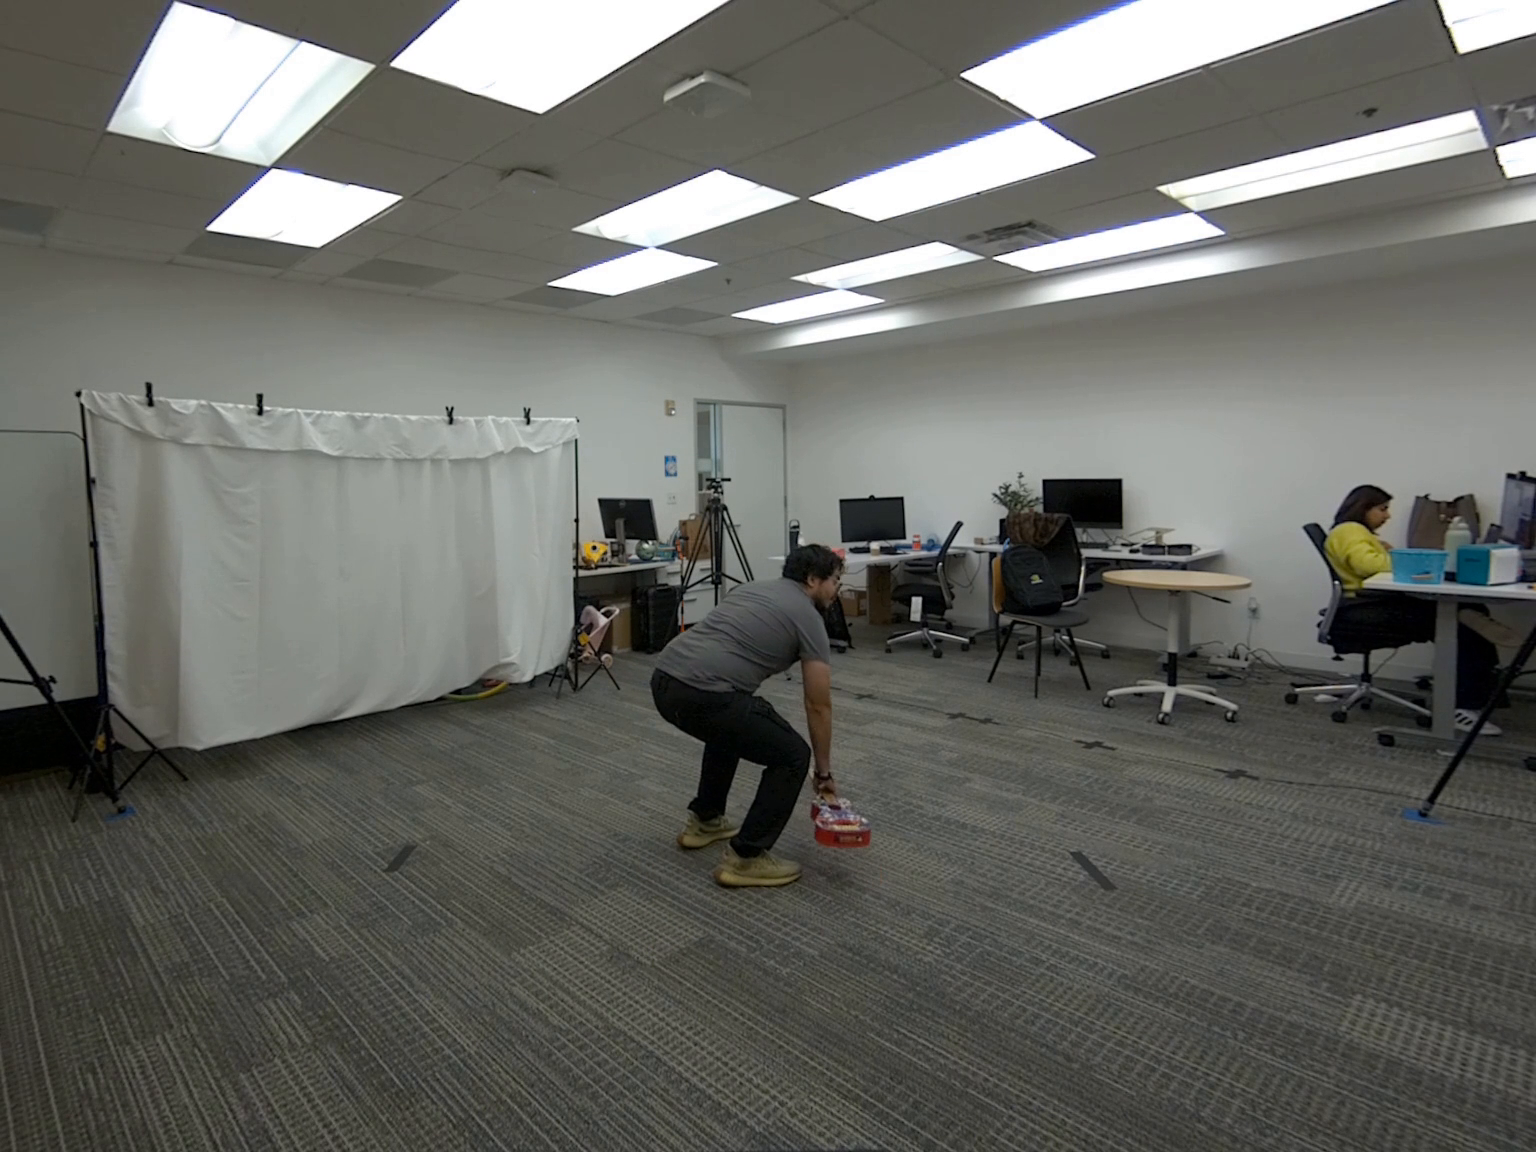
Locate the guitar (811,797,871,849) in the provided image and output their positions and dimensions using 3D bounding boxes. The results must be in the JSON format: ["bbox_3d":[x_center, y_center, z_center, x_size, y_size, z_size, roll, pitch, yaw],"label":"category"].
[{"bbox_3d":[0.250,0.830,3.104,0.192,0.070,0.503,4,11,-4],"label":"guitar"}]
